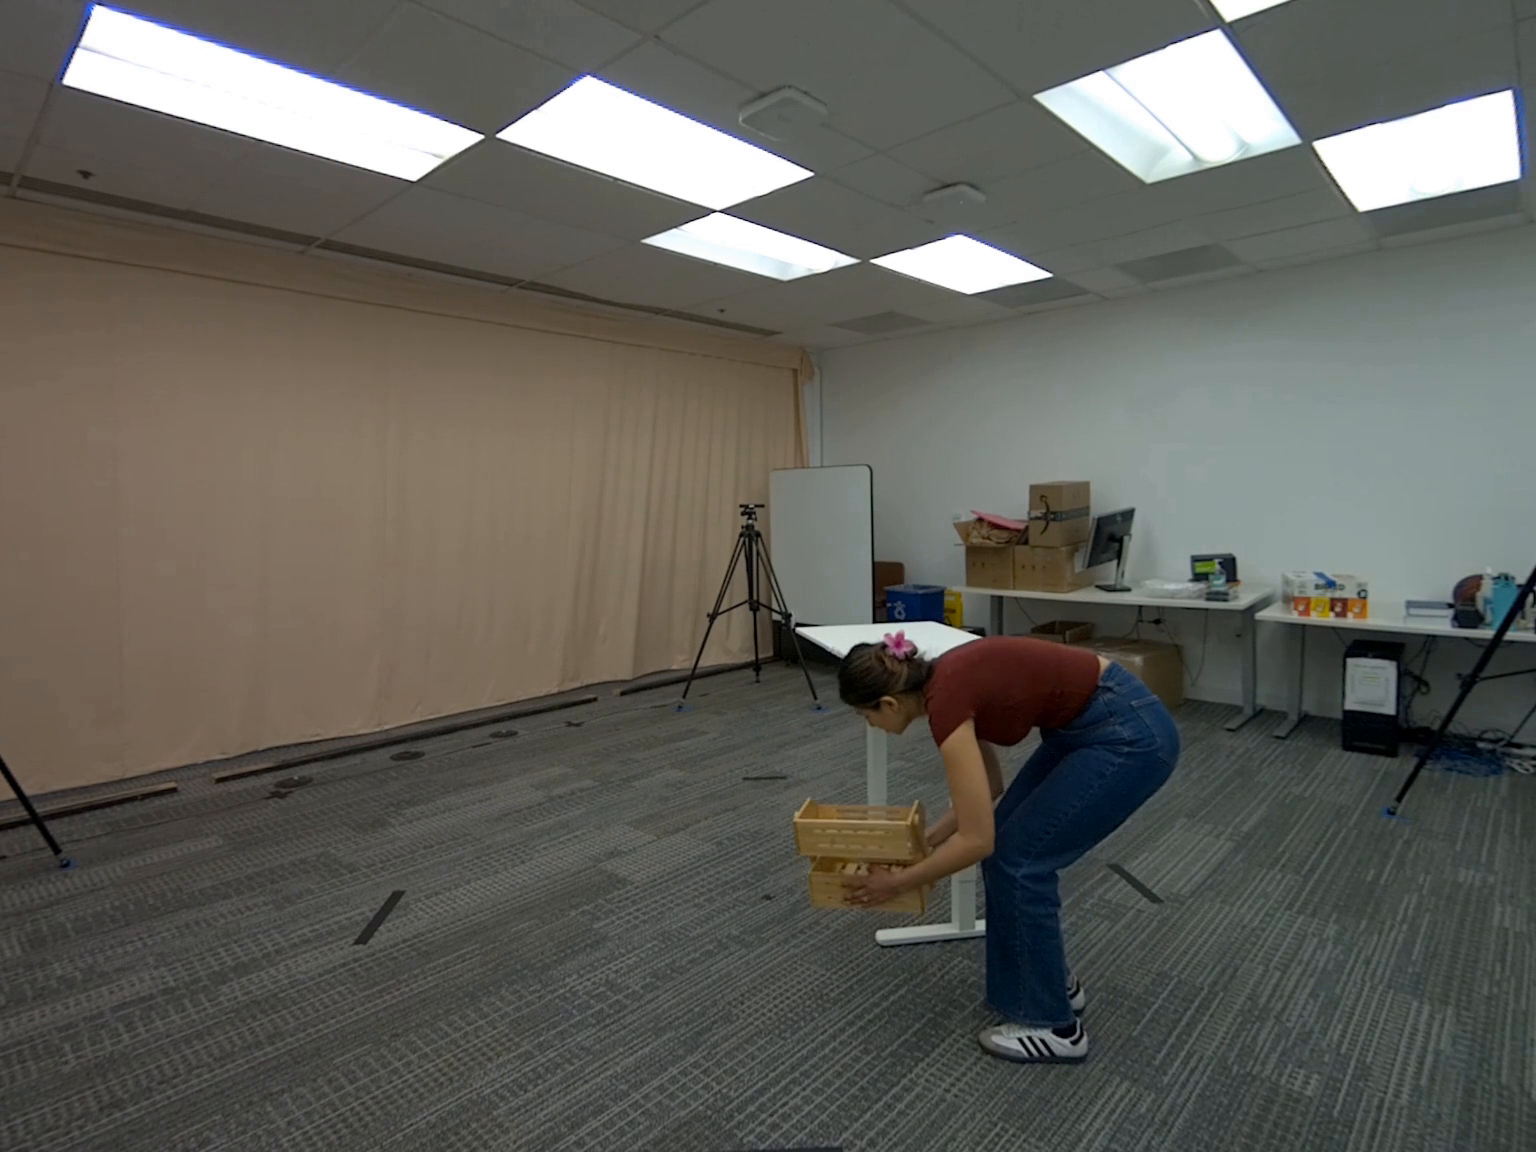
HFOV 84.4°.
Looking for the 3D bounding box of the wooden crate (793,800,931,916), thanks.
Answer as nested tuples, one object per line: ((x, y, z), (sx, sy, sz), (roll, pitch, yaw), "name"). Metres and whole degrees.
((0.277, 0.725, 2.254), (0.331, 0.272, 0.297), (-5, 5, 21), "wooden crate")
